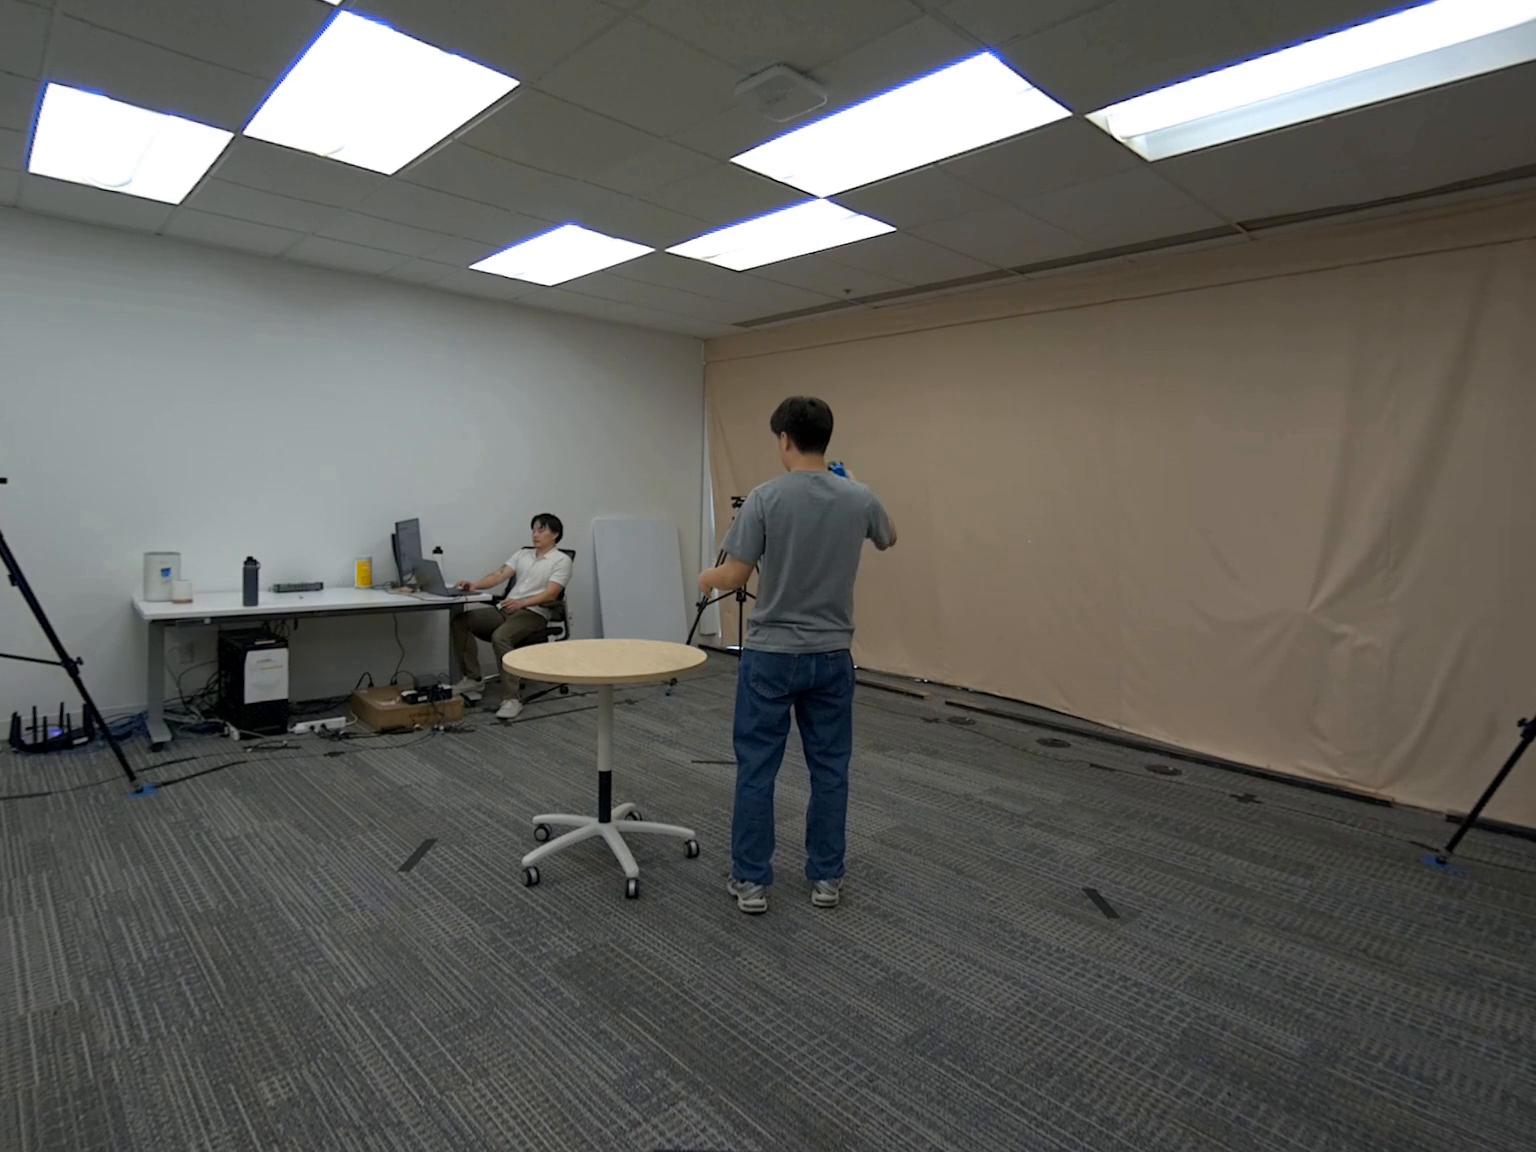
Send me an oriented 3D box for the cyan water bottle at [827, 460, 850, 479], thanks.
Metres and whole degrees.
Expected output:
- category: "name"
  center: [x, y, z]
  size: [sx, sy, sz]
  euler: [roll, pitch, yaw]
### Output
- category: "cyan water bottle"
  center: [0.292, -0.317, 3.368]
  size: [0.092, 0.279, 0.093]
  euler: [-19, 18, 5]
